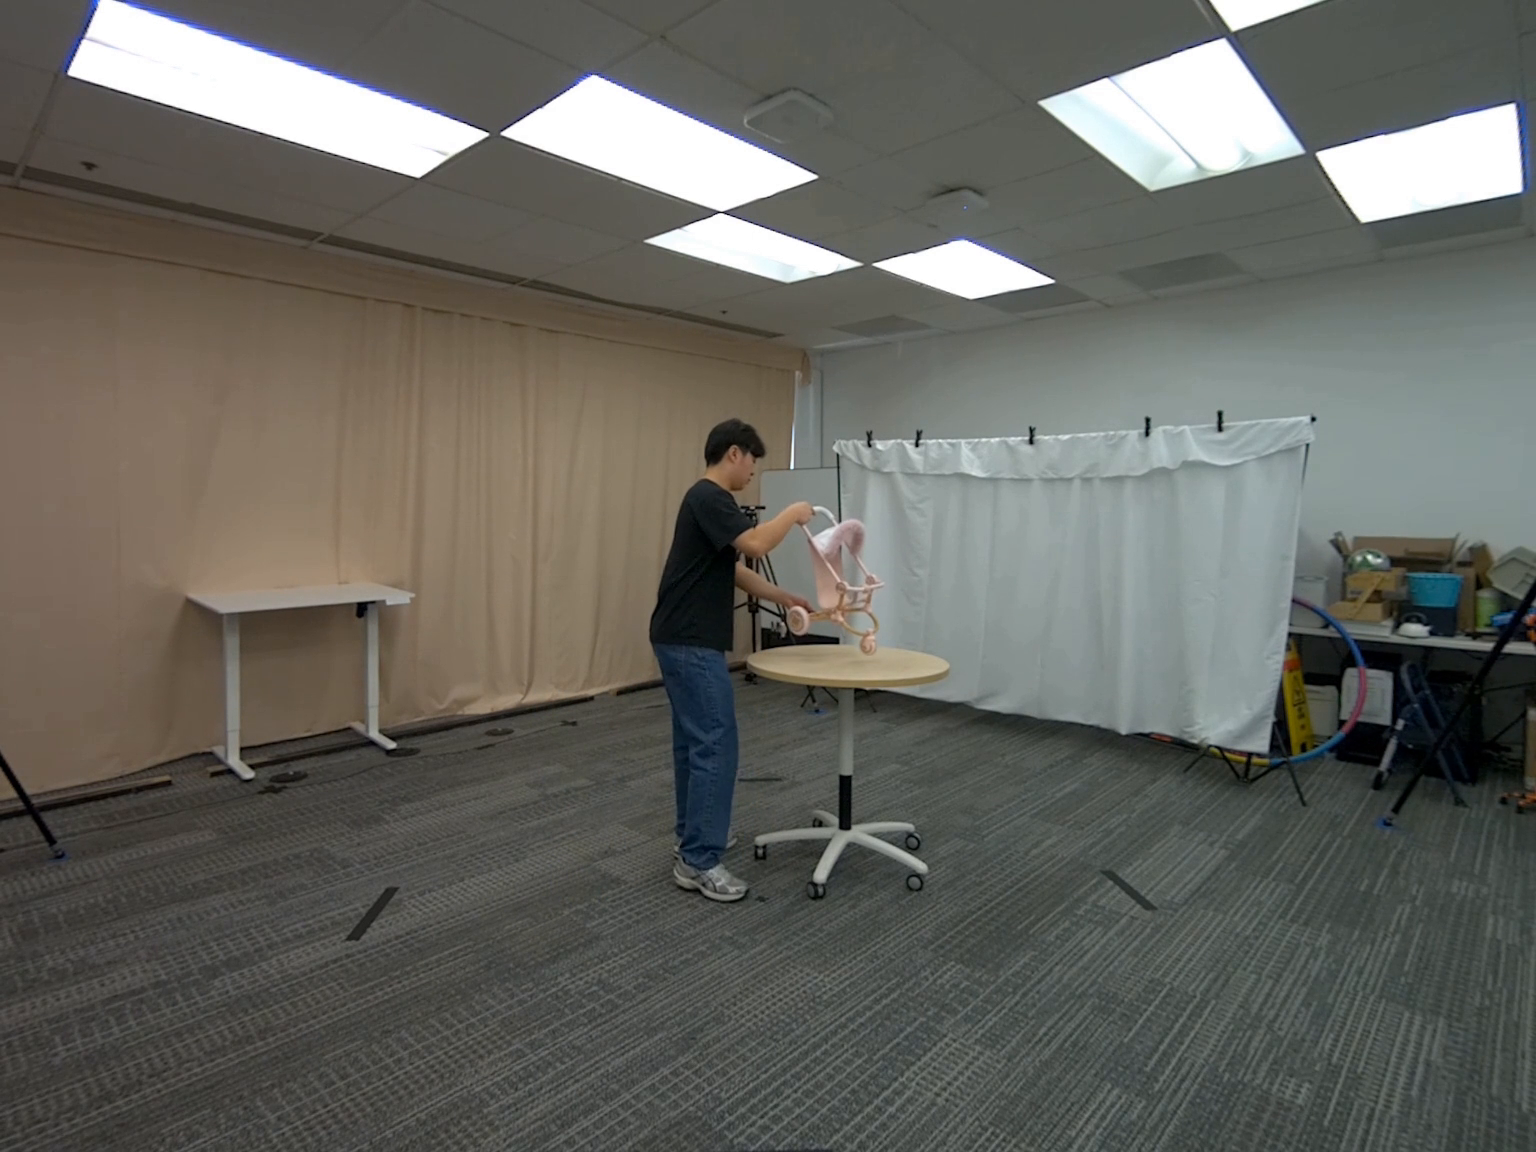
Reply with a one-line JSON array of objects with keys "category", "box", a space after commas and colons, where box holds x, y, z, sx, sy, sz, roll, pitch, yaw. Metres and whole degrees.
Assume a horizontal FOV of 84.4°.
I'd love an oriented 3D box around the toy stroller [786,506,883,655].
[{"category": "toy stroller", "box": [0.284, 0.021, 3.196, 0.273, 0.532, 0.353, -7, 11, -43]}]
